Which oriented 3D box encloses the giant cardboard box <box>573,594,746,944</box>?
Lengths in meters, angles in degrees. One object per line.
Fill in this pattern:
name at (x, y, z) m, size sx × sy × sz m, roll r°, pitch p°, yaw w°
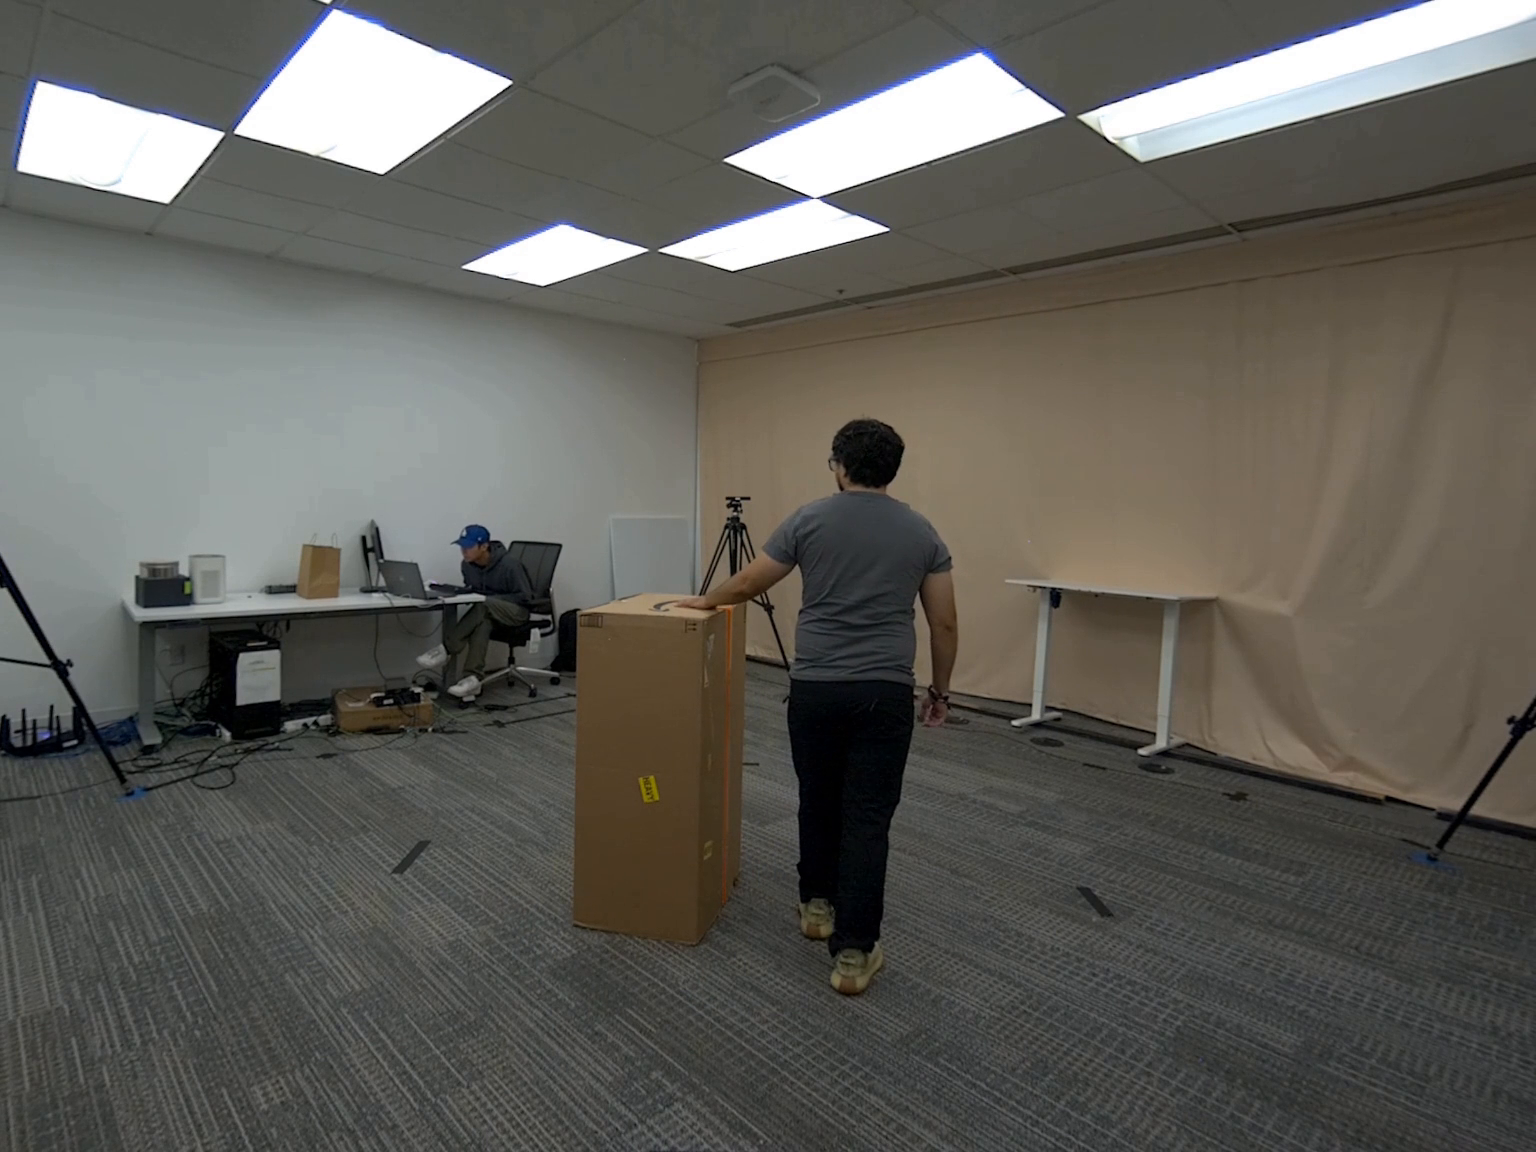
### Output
giant cardboard box at (-0.353, 0.607, 2.915) m, size 0.431 × 1.024 × 0.572 m, roll 2°, pitch 3°, yaw 13°
